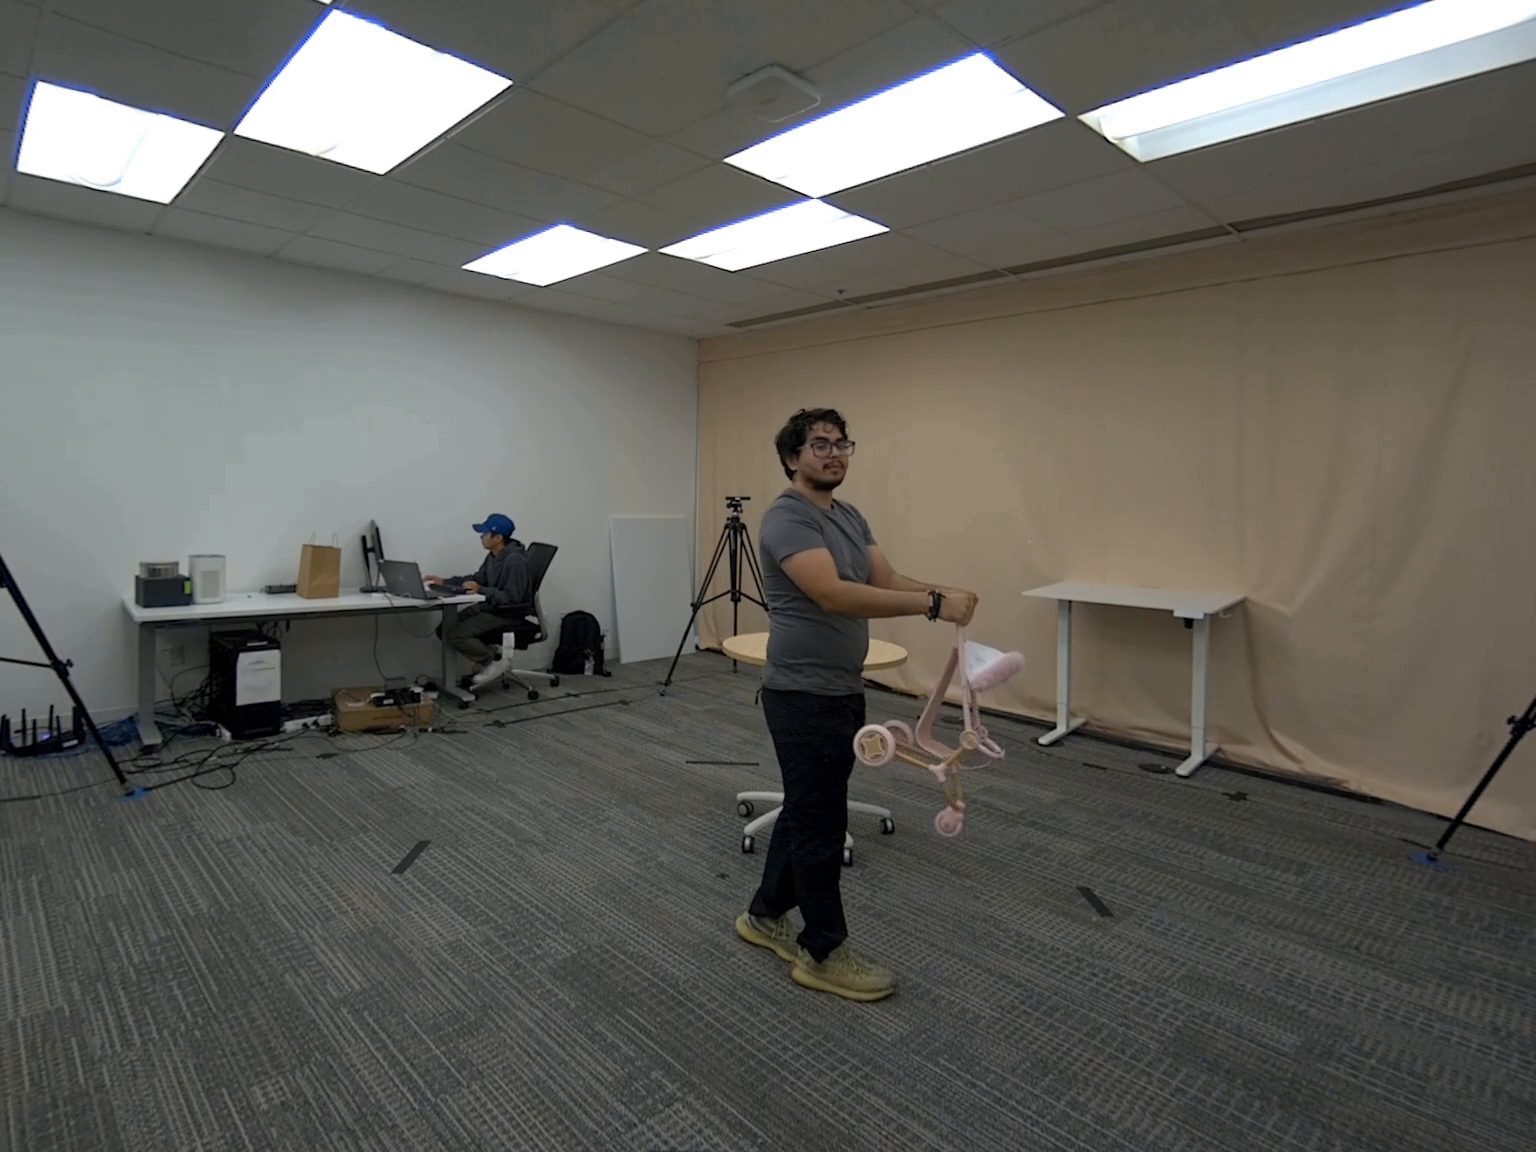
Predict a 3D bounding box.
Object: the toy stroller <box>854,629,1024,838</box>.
[{"bbox_3d":[0.474,0.370,2.202,0.351,0.534,0.274,34,4,28],"label":"toy stroller"}]
